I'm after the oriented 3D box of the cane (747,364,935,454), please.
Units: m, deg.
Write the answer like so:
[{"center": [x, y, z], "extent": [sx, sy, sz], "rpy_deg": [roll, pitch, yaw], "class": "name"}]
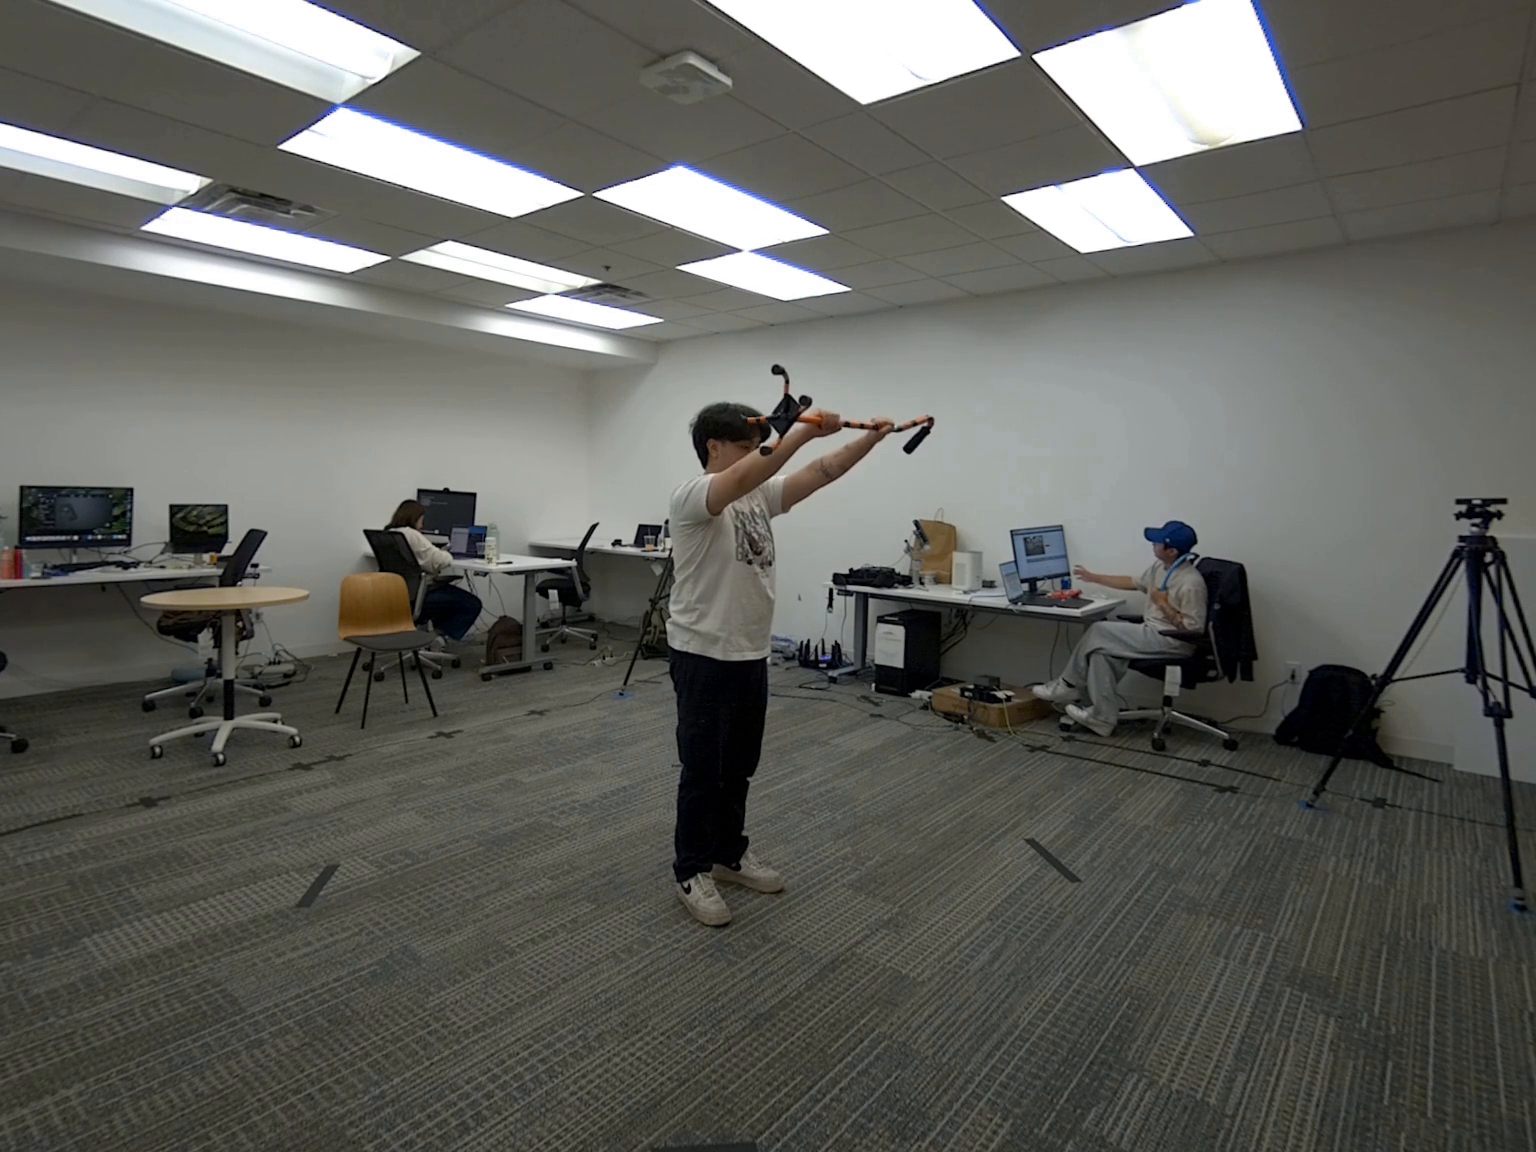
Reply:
[{"center": [0.261, -0.476, 2.601], "extent": [0.883, 0.156, 0.206], "rpy_deg": [-7, -37, -53], "class": "cane"}]
